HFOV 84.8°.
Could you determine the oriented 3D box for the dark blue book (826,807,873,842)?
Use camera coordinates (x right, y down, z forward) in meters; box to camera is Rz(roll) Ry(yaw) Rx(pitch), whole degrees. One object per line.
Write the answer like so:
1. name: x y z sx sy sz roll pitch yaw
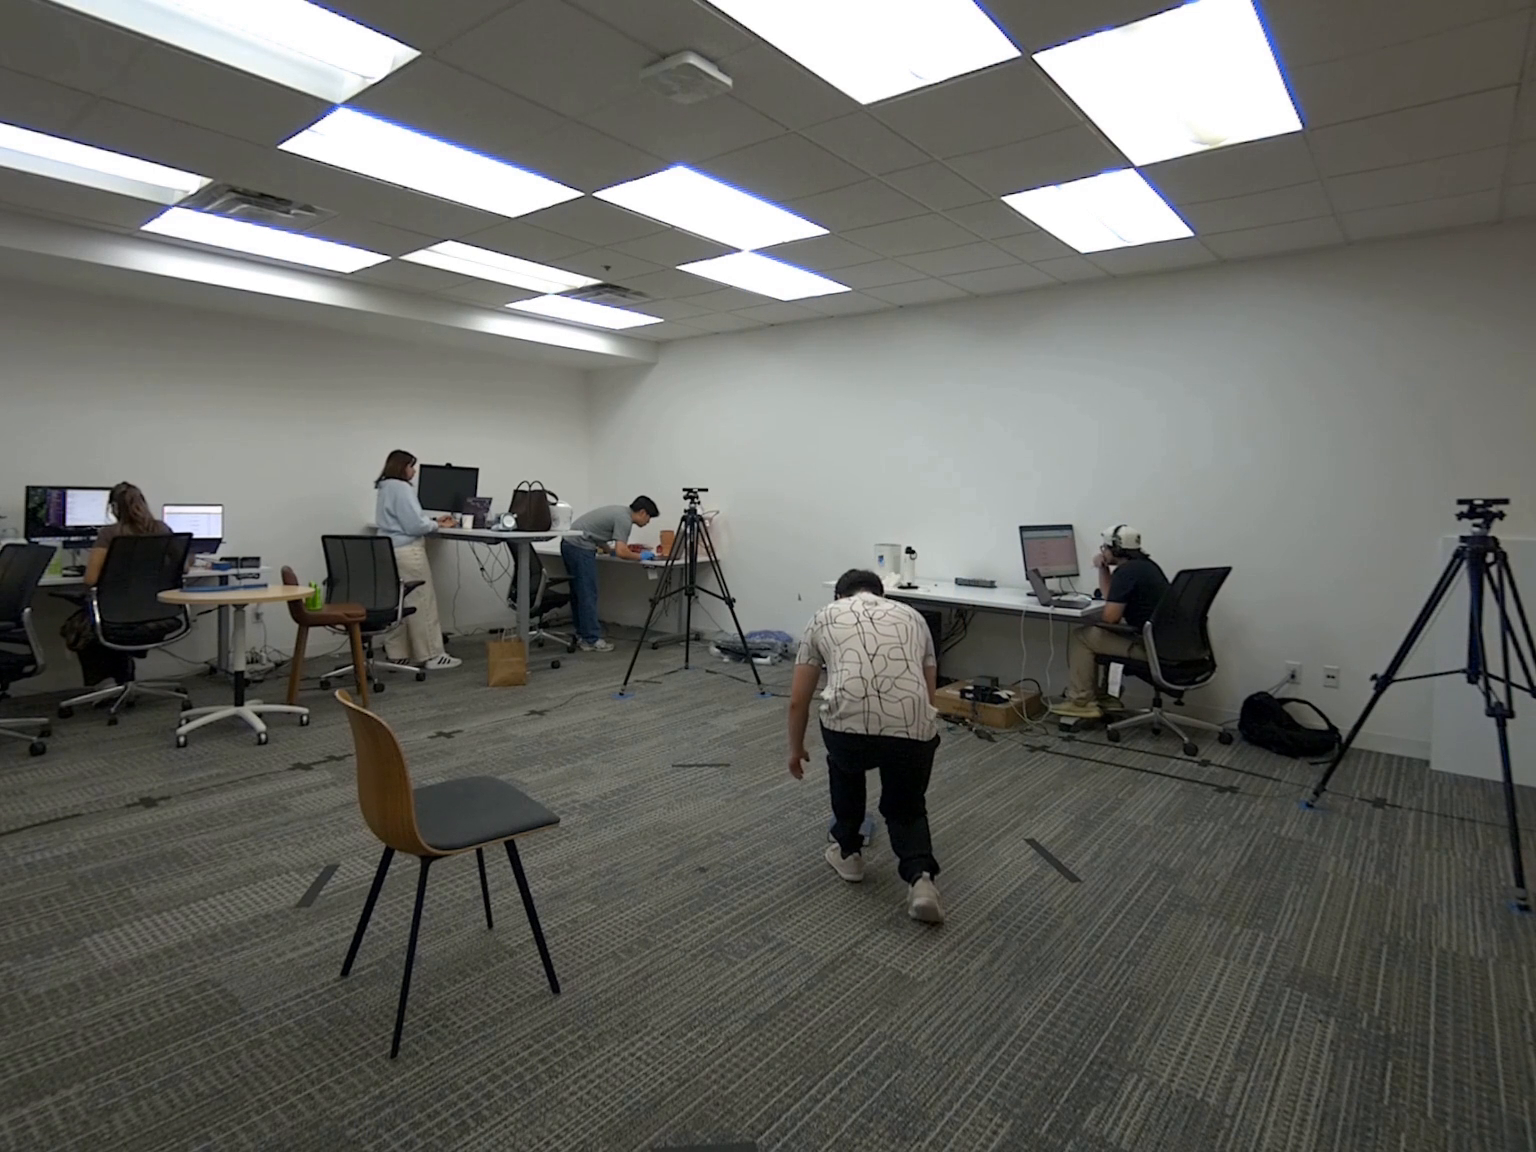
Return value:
1. dark blue book: 0.337 1.014 3.472 0.166 0.045 0.242 3 5 12
